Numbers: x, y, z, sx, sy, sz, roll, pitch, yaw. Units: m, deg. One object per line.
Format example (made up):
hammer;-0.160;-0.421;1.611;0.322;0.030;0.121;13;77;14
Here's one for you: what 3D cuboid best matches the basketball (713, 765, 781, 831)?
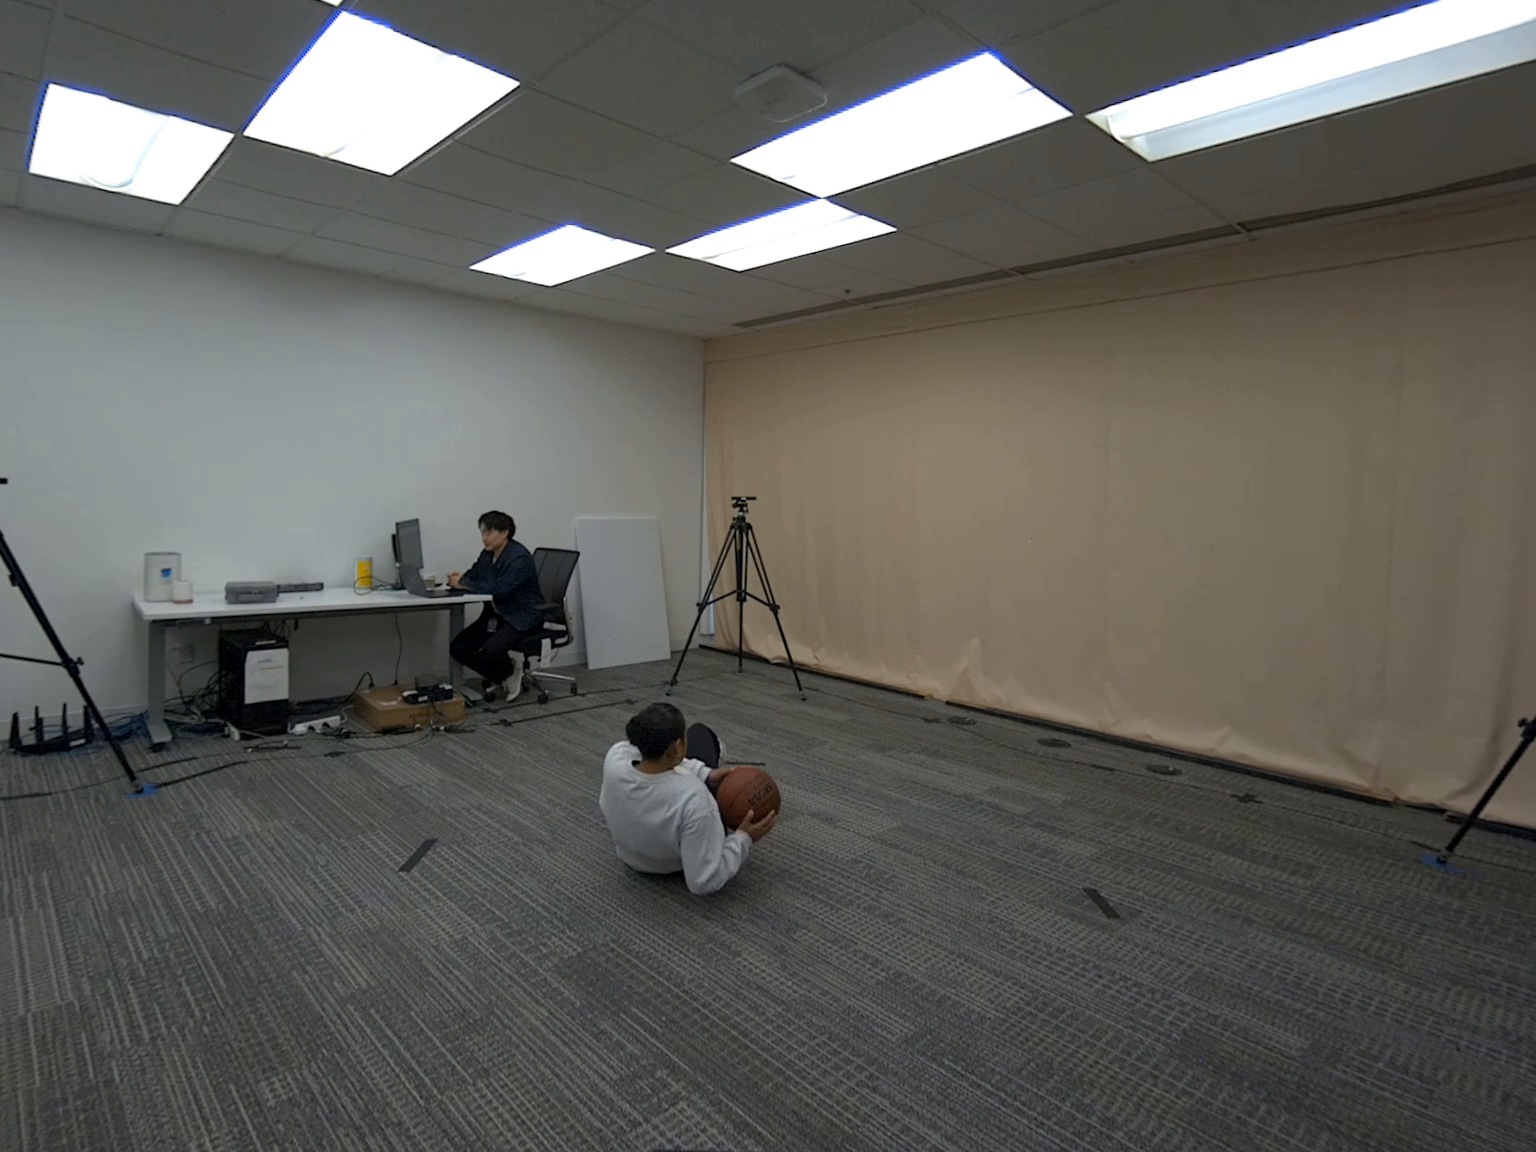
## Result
basketball;-0.102;0.822;3.113;0.236;0.235;0.237;1;4;-1
